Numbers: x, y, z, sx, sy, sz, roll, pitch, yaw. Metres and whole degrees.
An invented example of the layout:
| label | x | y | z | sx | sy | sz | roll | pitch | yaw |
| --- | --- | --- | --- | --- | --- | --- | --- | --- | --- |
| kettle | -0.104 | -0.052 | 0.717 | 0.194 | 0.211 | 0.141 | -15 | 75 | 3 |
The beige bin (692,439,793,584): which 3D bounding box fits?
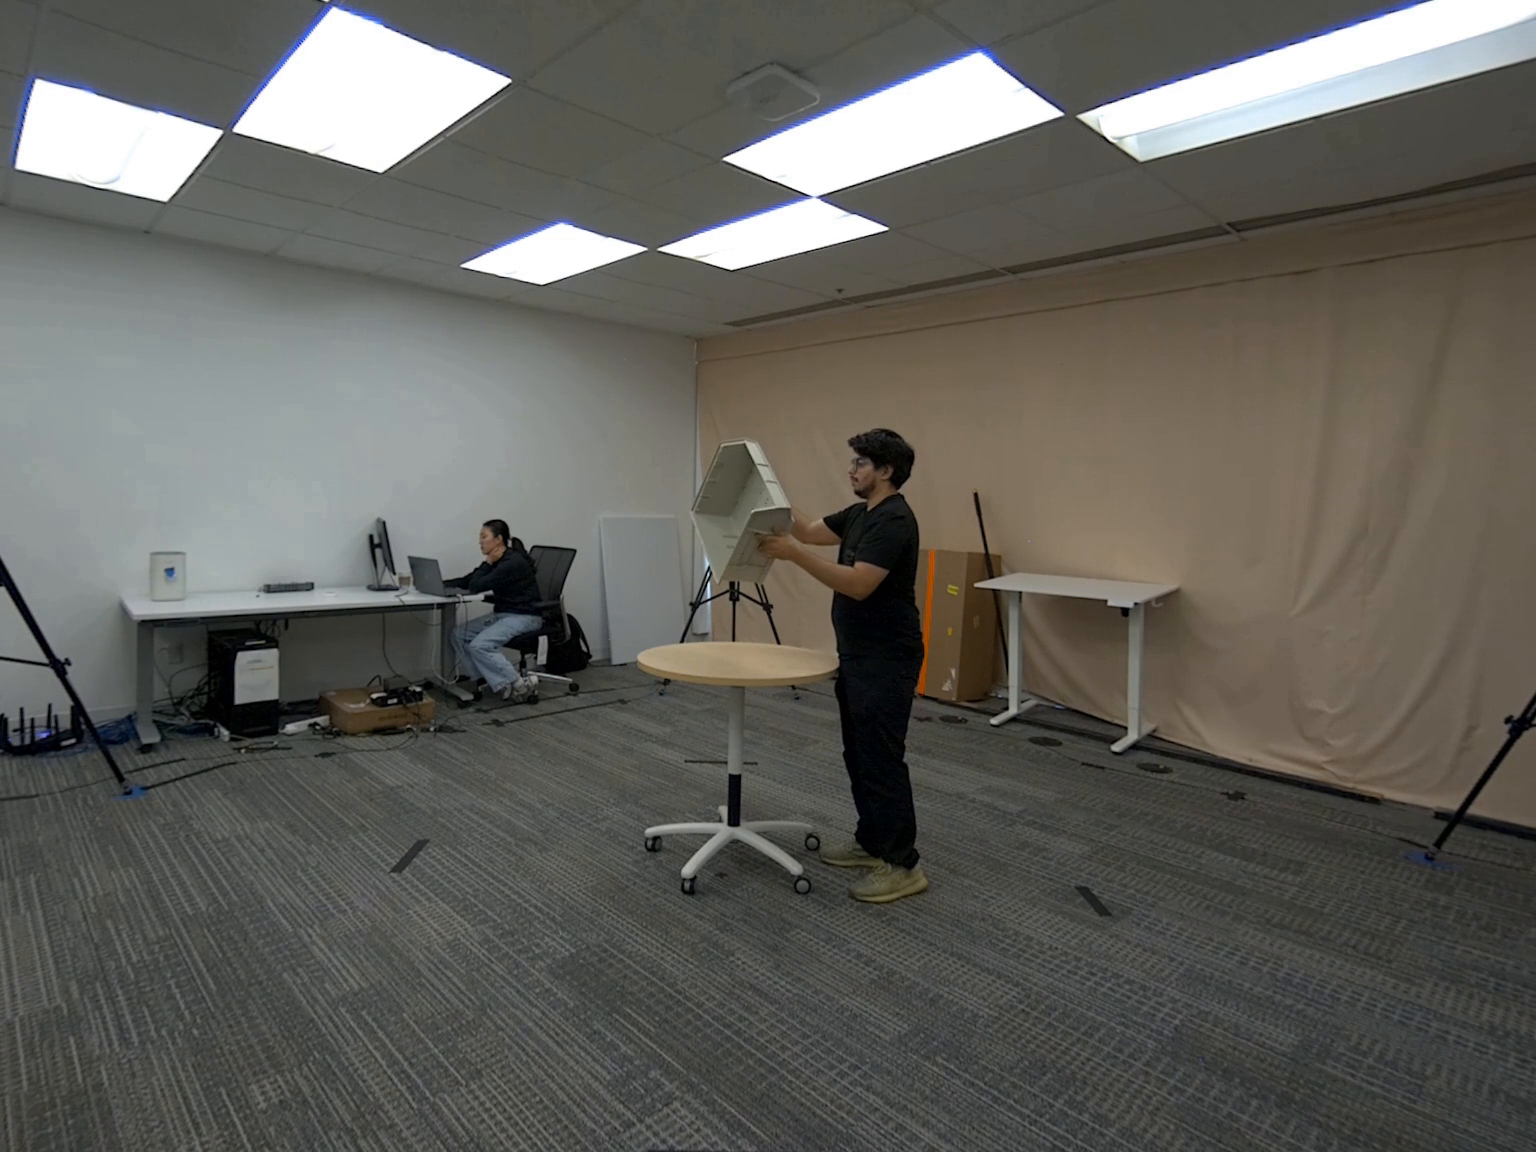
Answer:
| label | x | y | z | sx | sy | sz | roll | pitch | yaw |
| --- | --- | --- | --- | --- | --- | --- | --- | --- | --- |
| beige bin | -0.105 | -0.235 | 3.119 | 0.185 | 0.374 | 0.435 | 5 | 40 | -27 |
